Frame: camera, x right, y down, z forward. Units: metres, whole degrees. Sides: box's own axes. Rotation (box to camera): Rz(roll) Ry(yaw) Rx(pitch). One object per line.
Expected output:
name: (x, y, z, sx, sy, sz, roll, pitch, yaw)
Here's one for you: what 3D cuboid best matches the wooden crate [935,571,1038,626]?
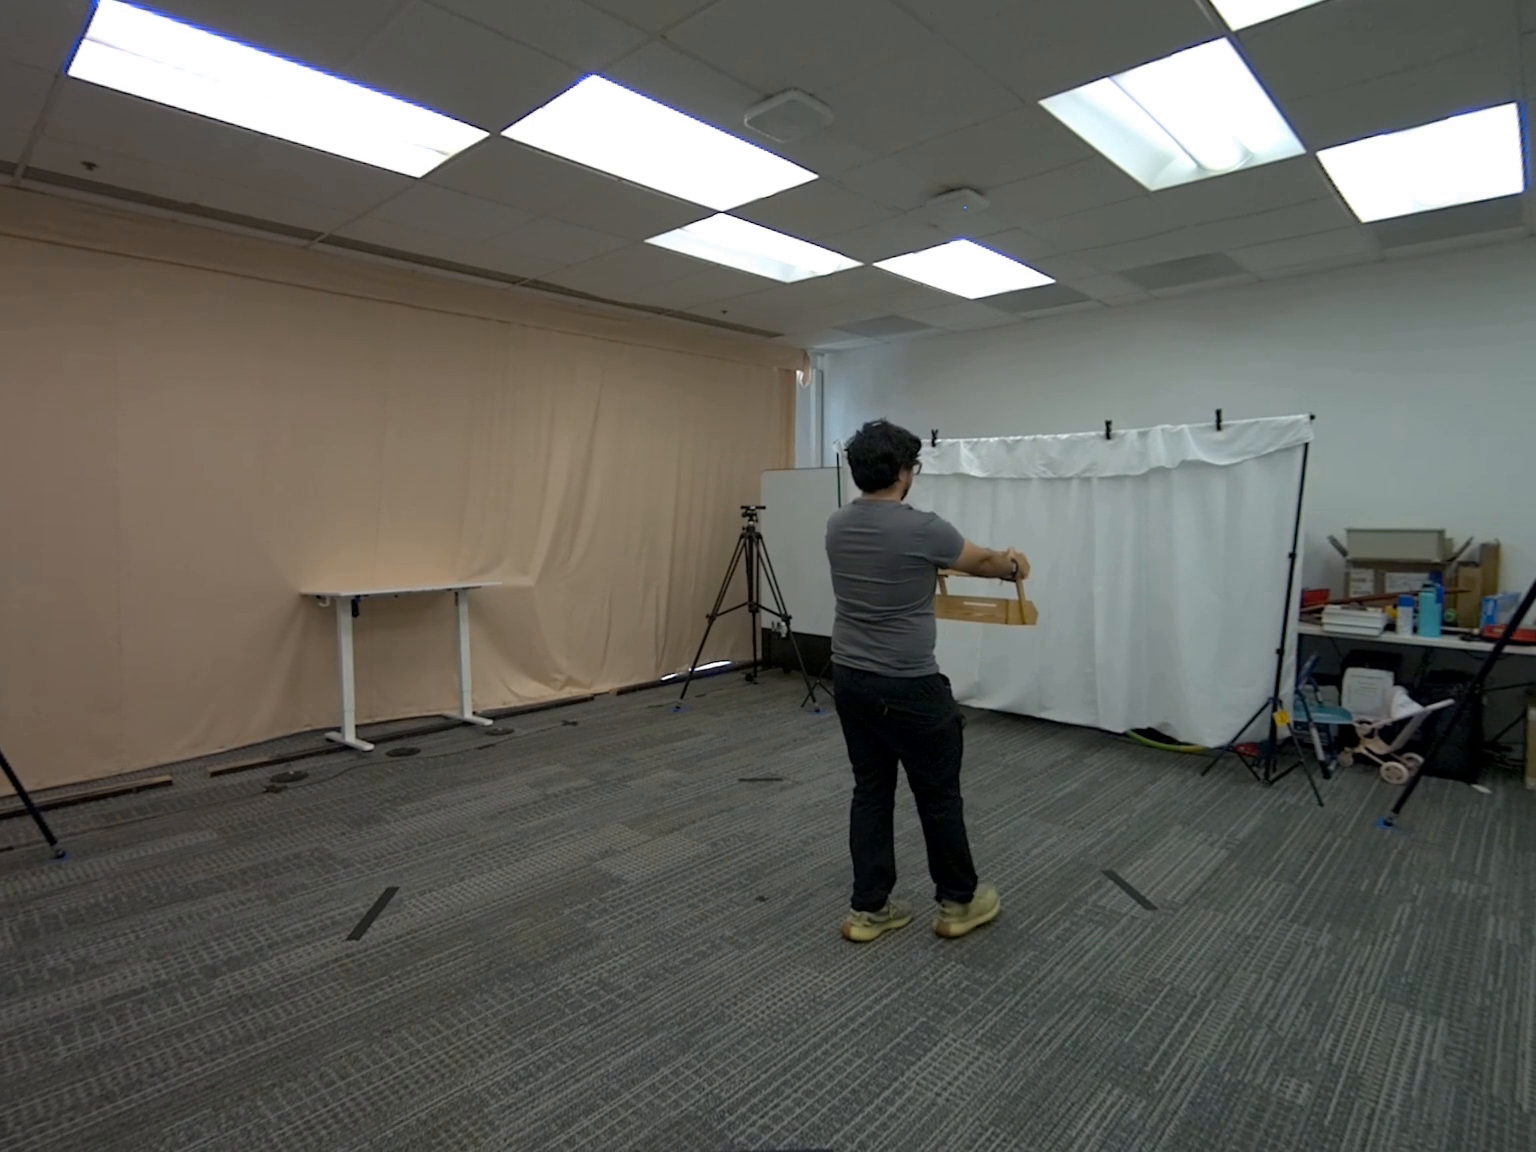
wooden crate: (0.821, 0.038, 3.174, 0.335, 0.273, 0.292, 2, 1, 43)
